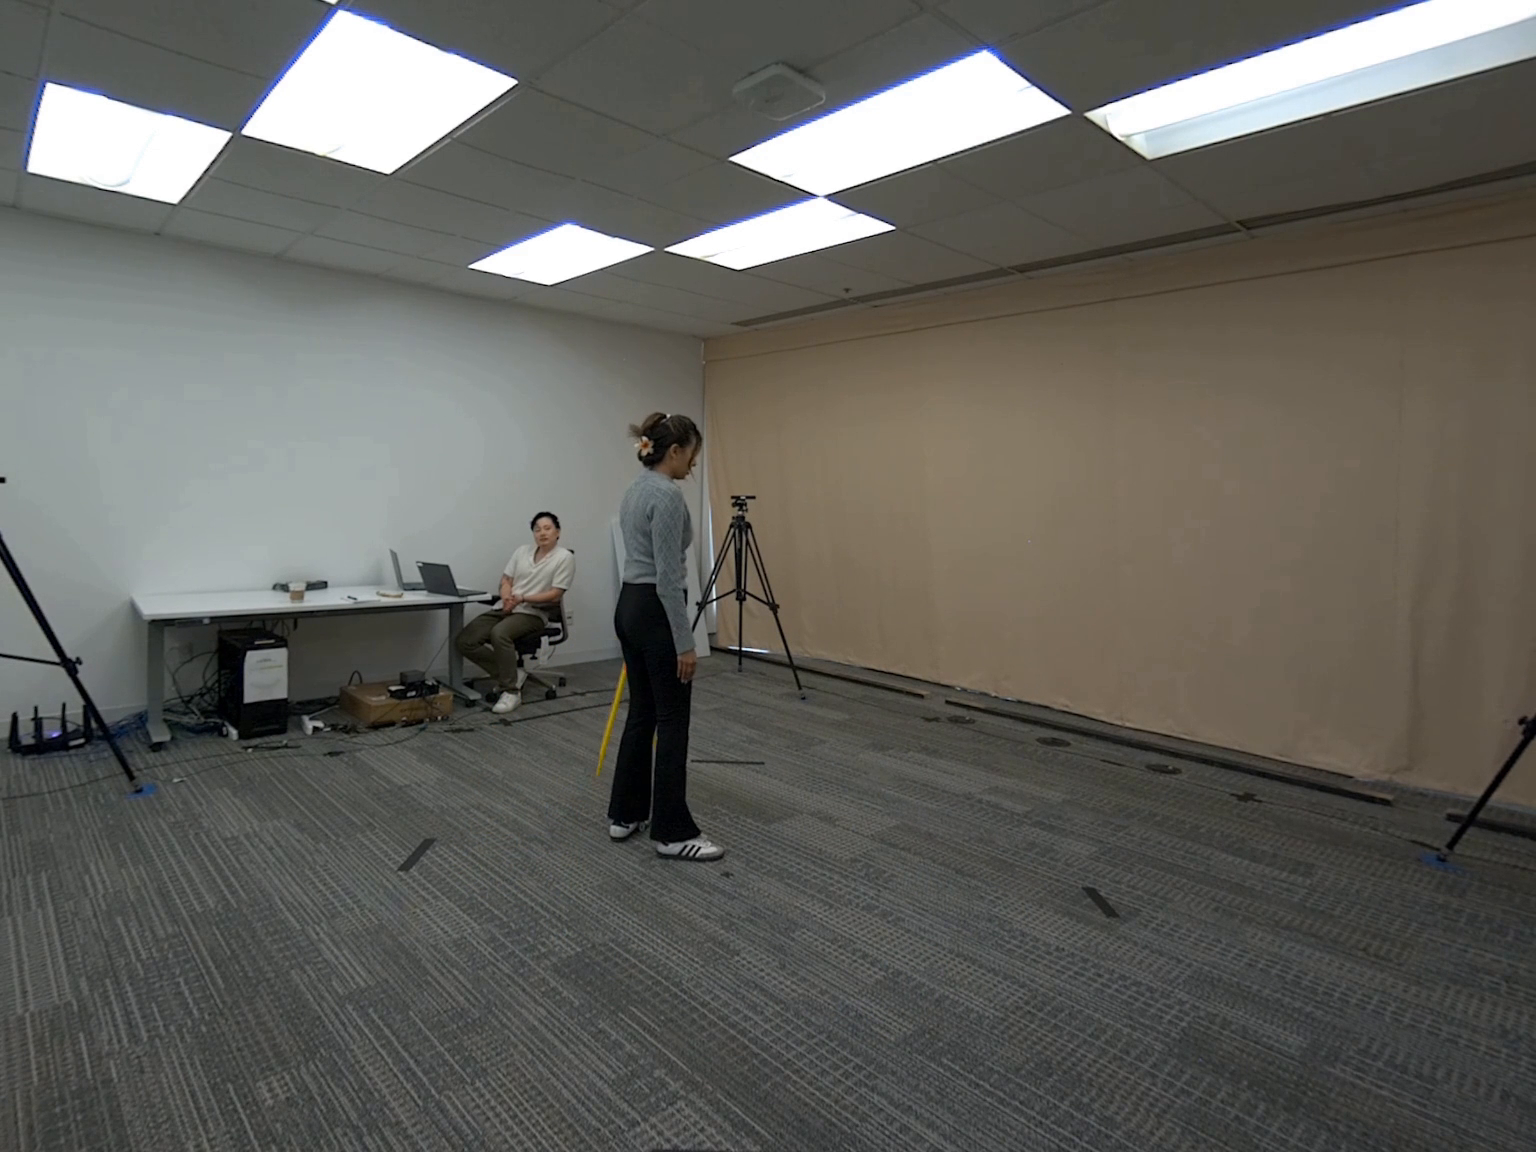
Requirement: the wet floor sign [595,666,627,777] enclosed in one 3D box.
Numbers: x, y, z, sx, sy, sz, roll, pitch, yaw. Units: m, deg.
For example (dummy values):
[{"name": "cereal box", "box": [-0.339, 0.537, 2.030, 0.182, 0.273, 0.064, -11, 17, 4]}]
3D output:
[{"name": "wet floor sign", "box": [-0.600, 0.539, 3.748, 0.288, 0.642, 0.285, 4, 10, -7]}]
